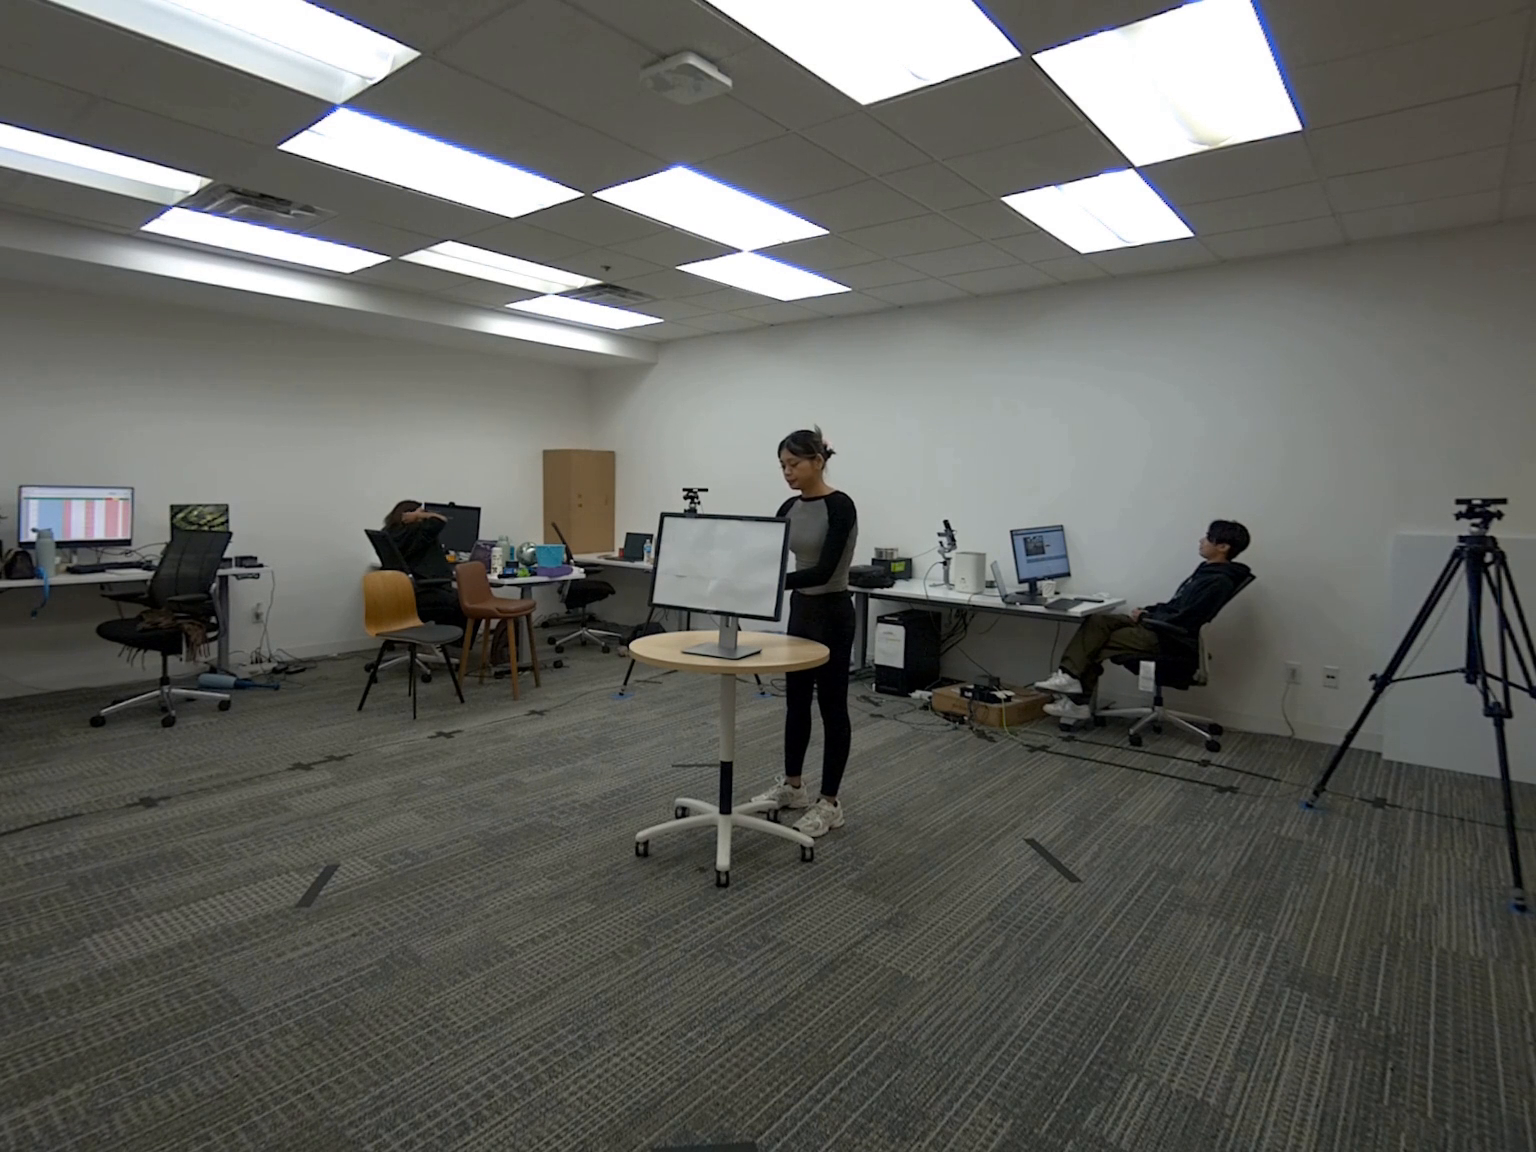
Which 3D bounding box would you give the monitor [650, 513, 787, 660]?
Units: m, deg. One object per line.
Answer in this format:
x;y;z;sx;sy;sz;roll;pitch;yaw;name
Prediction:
-0.178;0.032;3.115;0.546;0.511;0.171;6;12;32;monitor
